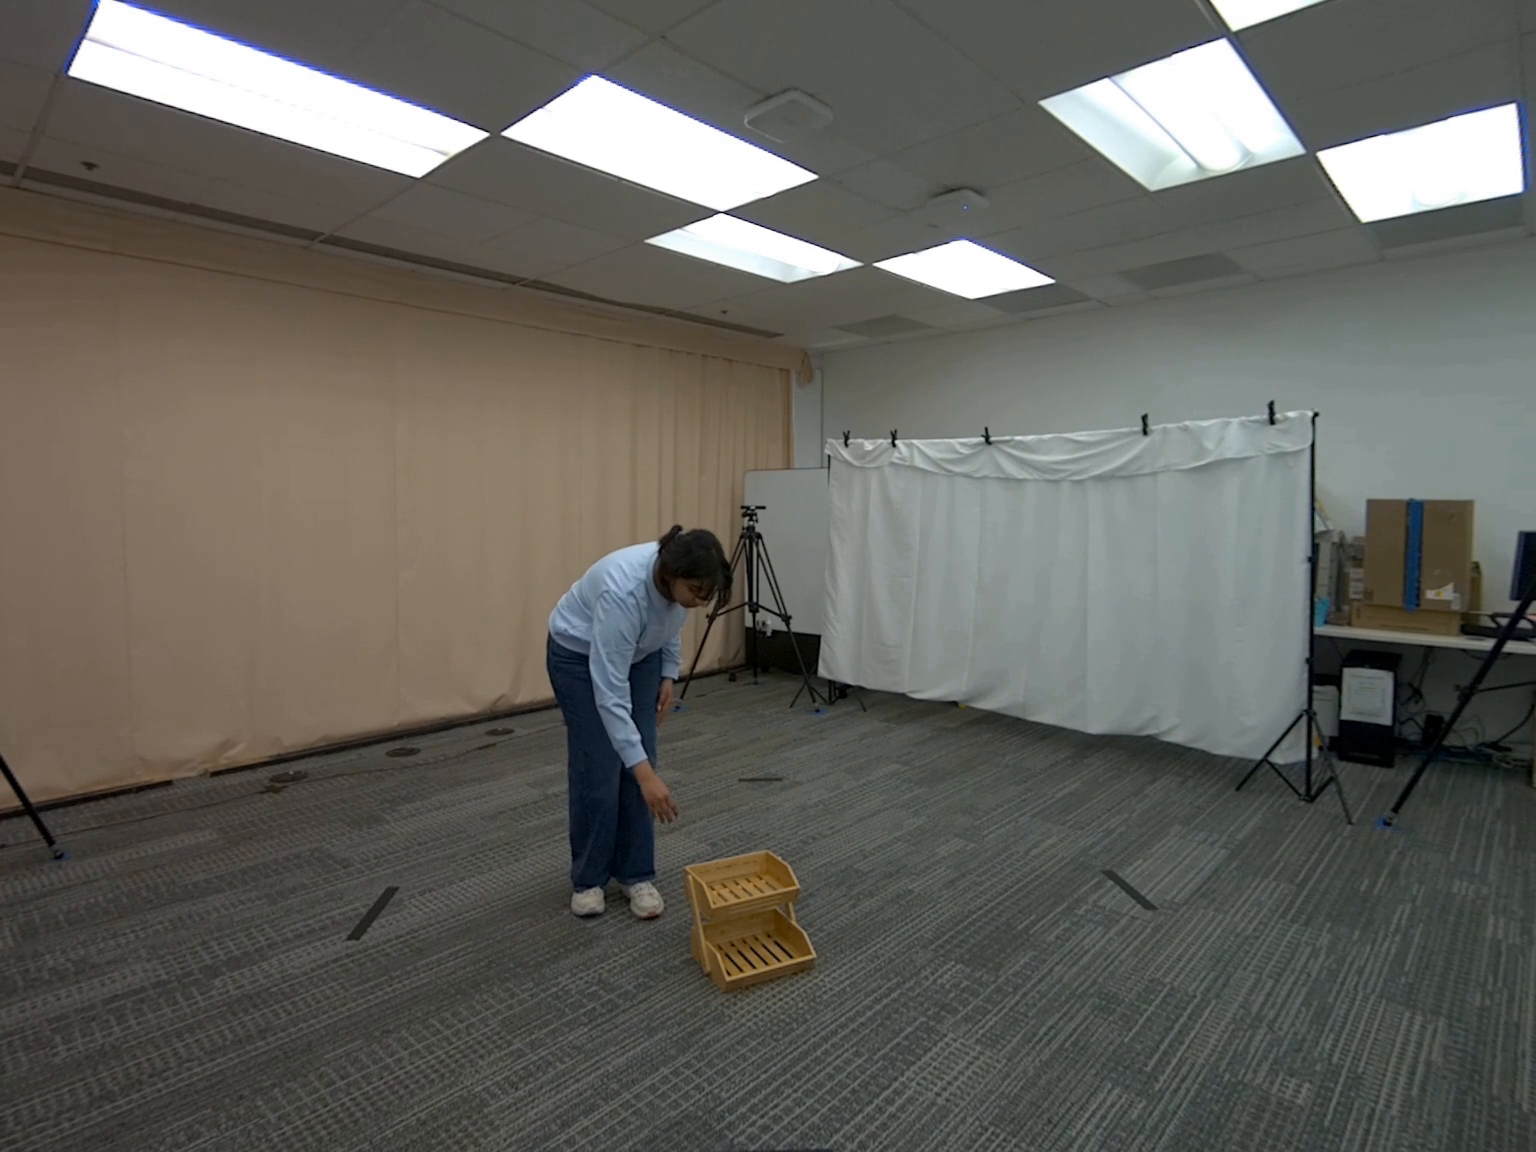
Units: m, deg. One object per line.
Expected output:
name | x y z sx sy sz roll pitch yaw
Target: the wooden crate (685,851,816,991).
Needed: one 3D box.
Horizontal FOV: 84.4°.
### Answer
wooden crate | -0.054 1.045 2.573 0.316 0.273 0.310 -2 4 -27
